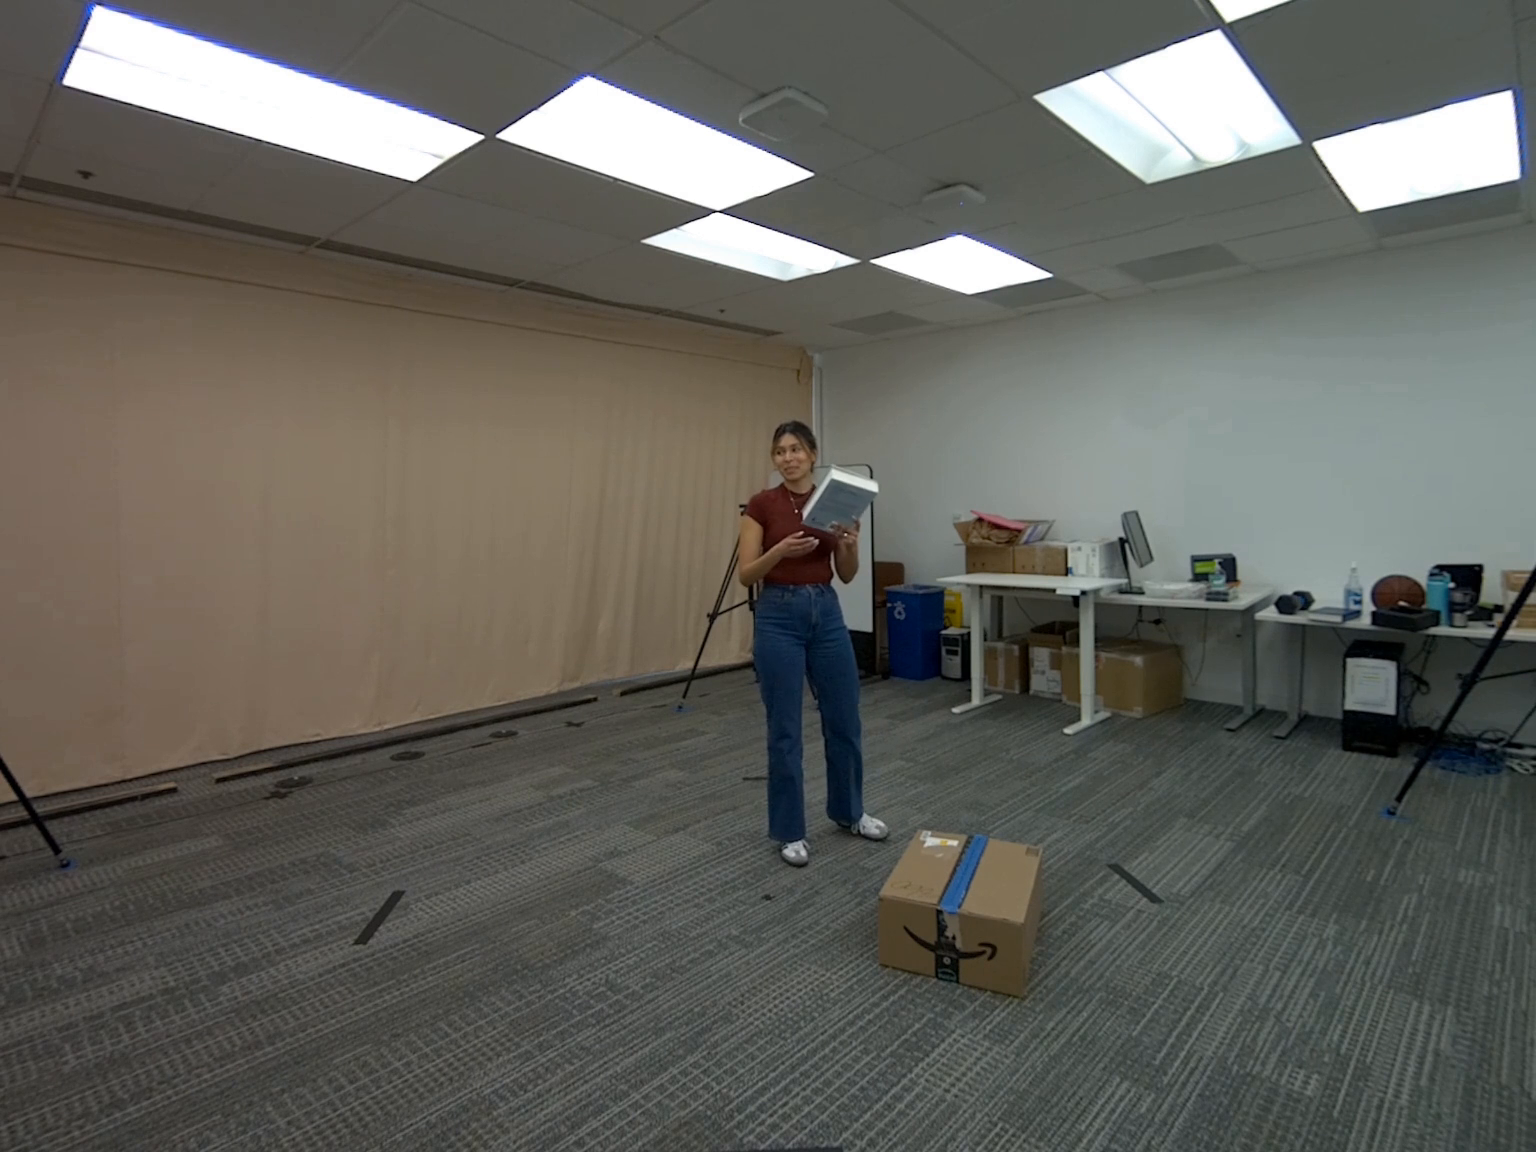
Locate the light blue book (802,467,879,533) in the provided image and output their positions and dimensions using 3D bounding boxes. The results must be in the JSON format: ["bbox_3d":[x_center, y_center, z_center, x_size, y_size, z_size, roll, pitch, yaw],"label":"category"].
[{"bbox_3d":[0.261,-0.269,3.108,0.189,0.060,0.260,18,-42,-11],"label":"light blue book"}]
